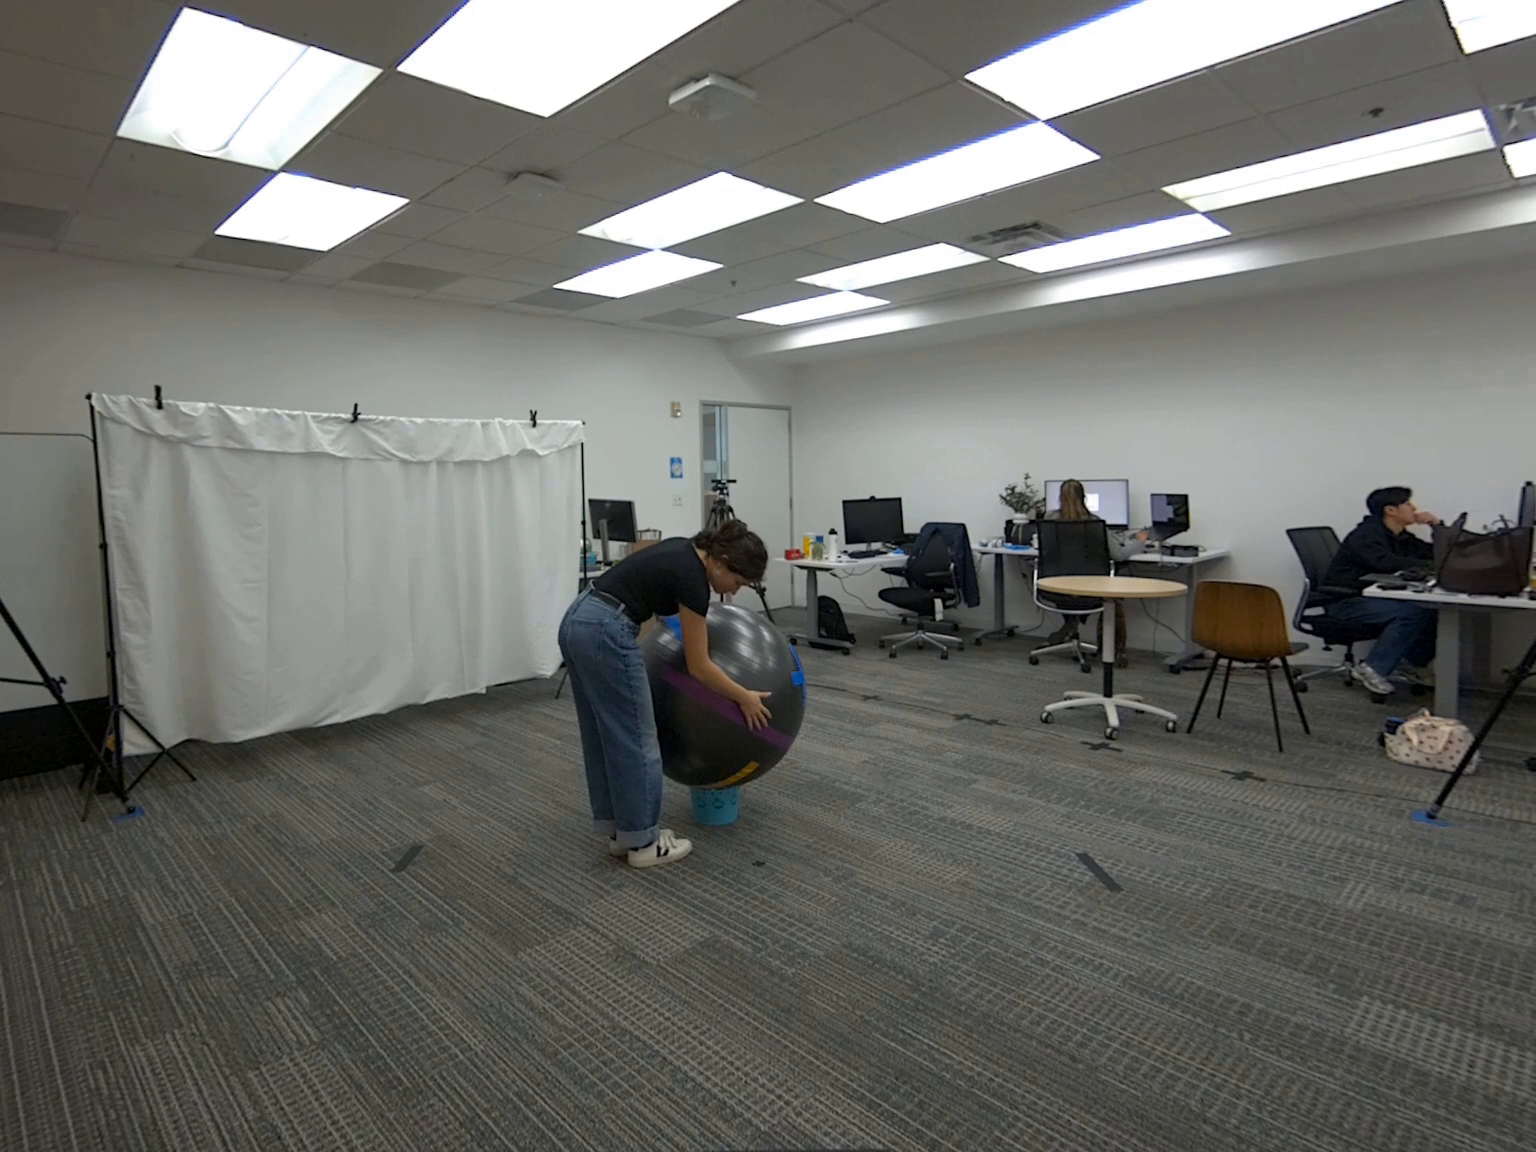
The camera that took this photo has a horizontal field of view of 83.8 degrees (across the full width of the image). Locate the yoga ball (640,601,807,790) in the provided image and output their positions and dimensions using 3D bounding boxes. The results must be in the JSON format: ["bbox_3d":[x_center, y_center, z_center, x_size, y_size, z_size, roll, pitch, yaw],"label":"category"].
[{"bbox_3d":[-0.223,0.491,3.556,0.757,0.755,0.762,-1,5,-2],"label":"yoga ball"}]
